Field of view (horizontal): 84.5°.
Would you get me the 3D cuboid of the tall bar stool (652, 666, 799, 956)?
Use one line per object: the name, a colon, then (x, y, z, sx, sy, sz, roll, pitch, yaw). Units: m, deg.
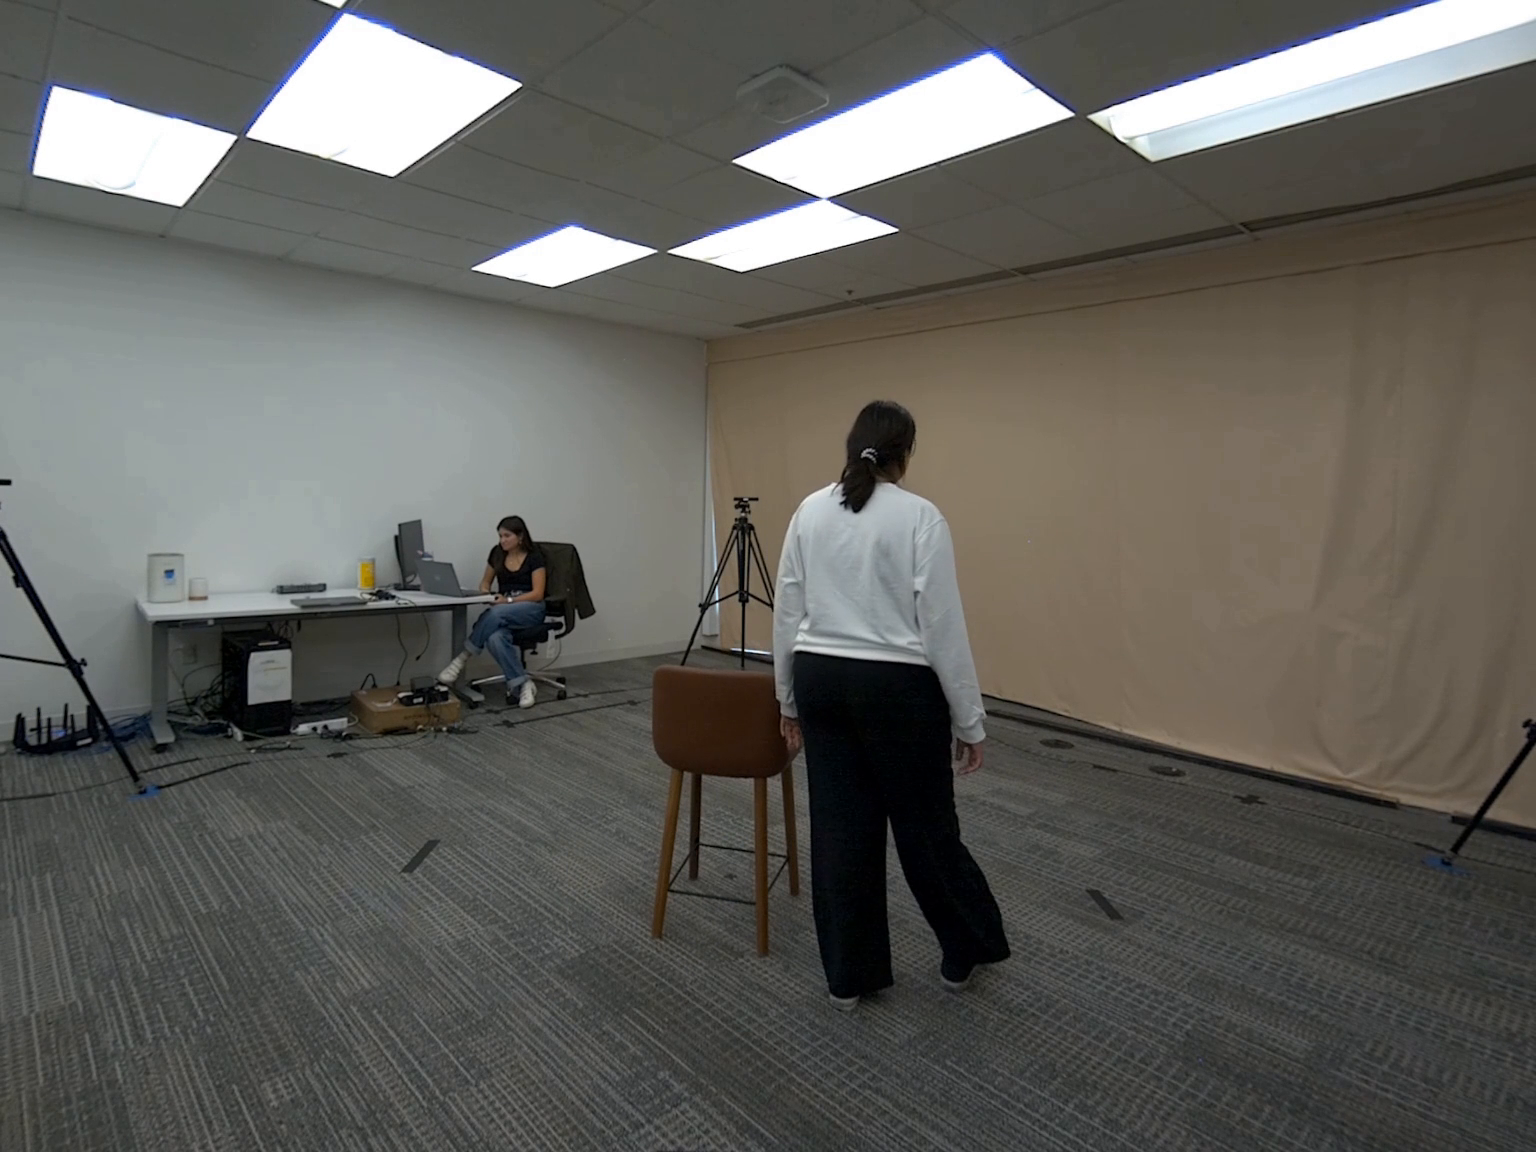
tall bar stool: (-0.132, 0.703, 2.791, 0.462, 0.886, 0.463, 2, 5, 15)
